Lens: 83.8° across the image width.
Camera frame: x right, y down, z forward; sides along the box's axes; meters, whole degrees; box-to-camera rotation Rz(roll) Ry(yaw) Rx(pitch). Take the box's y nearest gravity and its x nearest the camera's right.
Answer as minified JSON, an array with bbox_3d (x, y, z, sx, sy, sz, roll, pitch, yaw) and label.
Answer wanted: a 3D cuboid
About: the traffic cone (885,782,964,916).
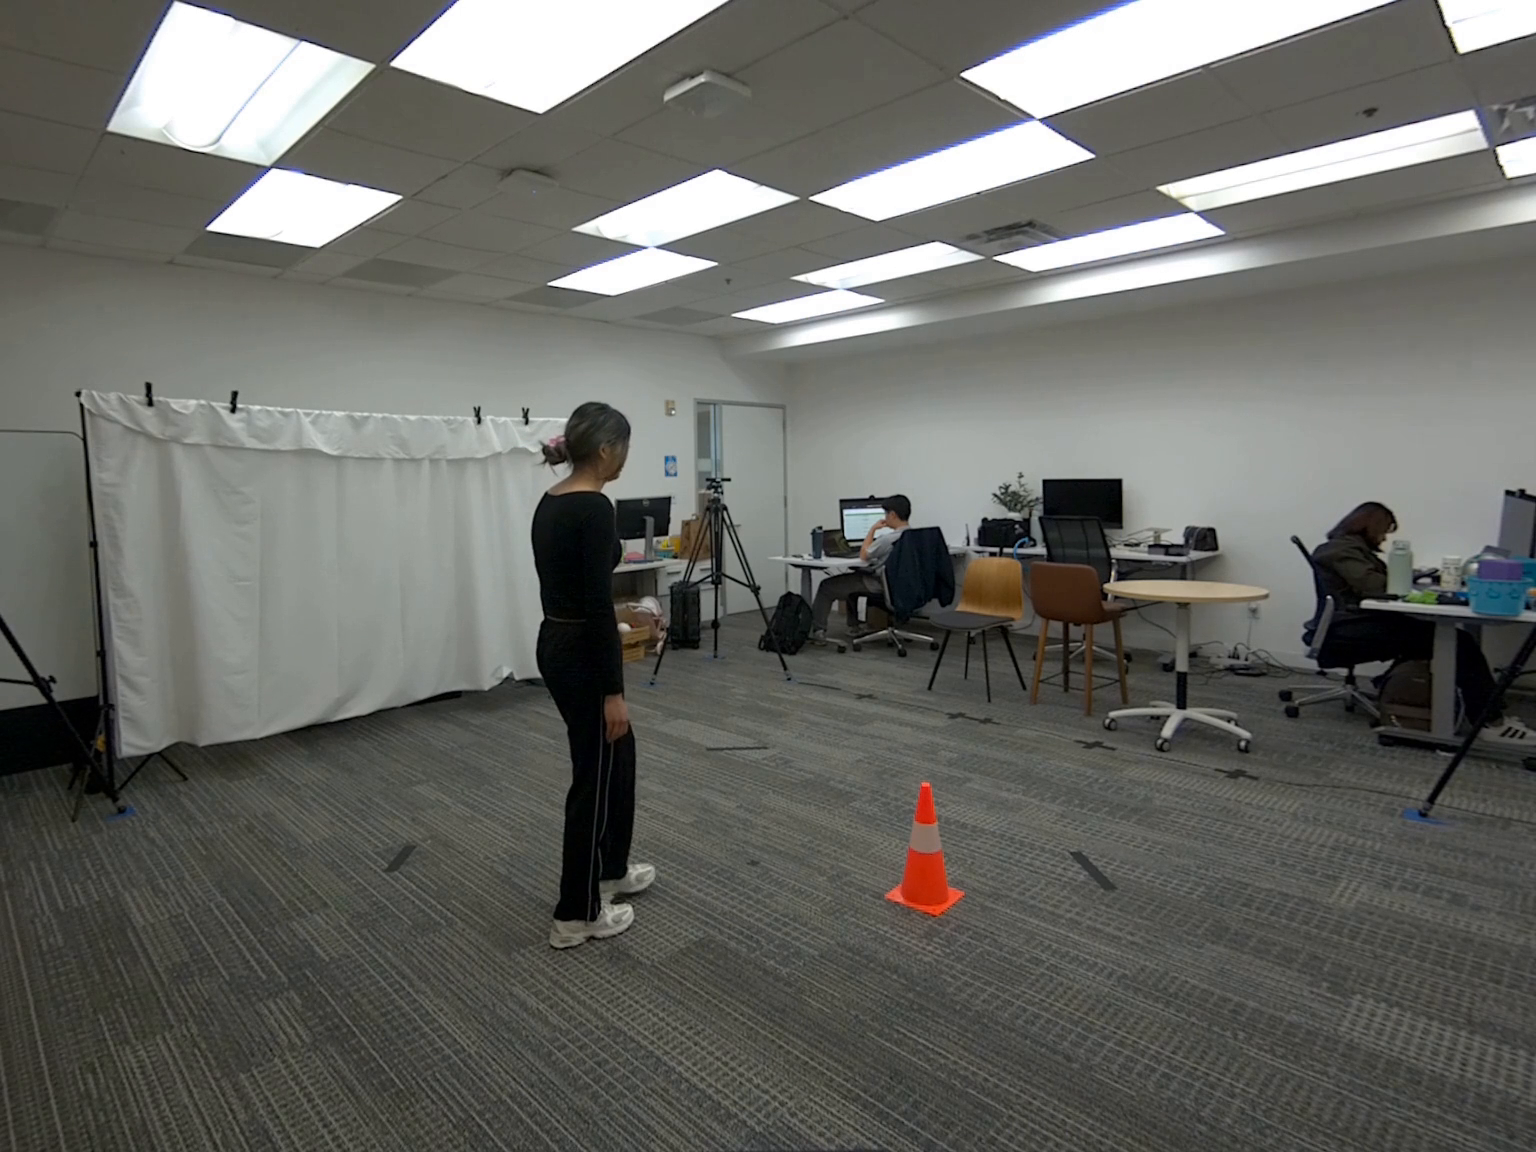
[{"bbox_3d":[0.521,0.878,2.830,0.209,0.382,0.199,3,6,44],"label":"traffic cone"}]
